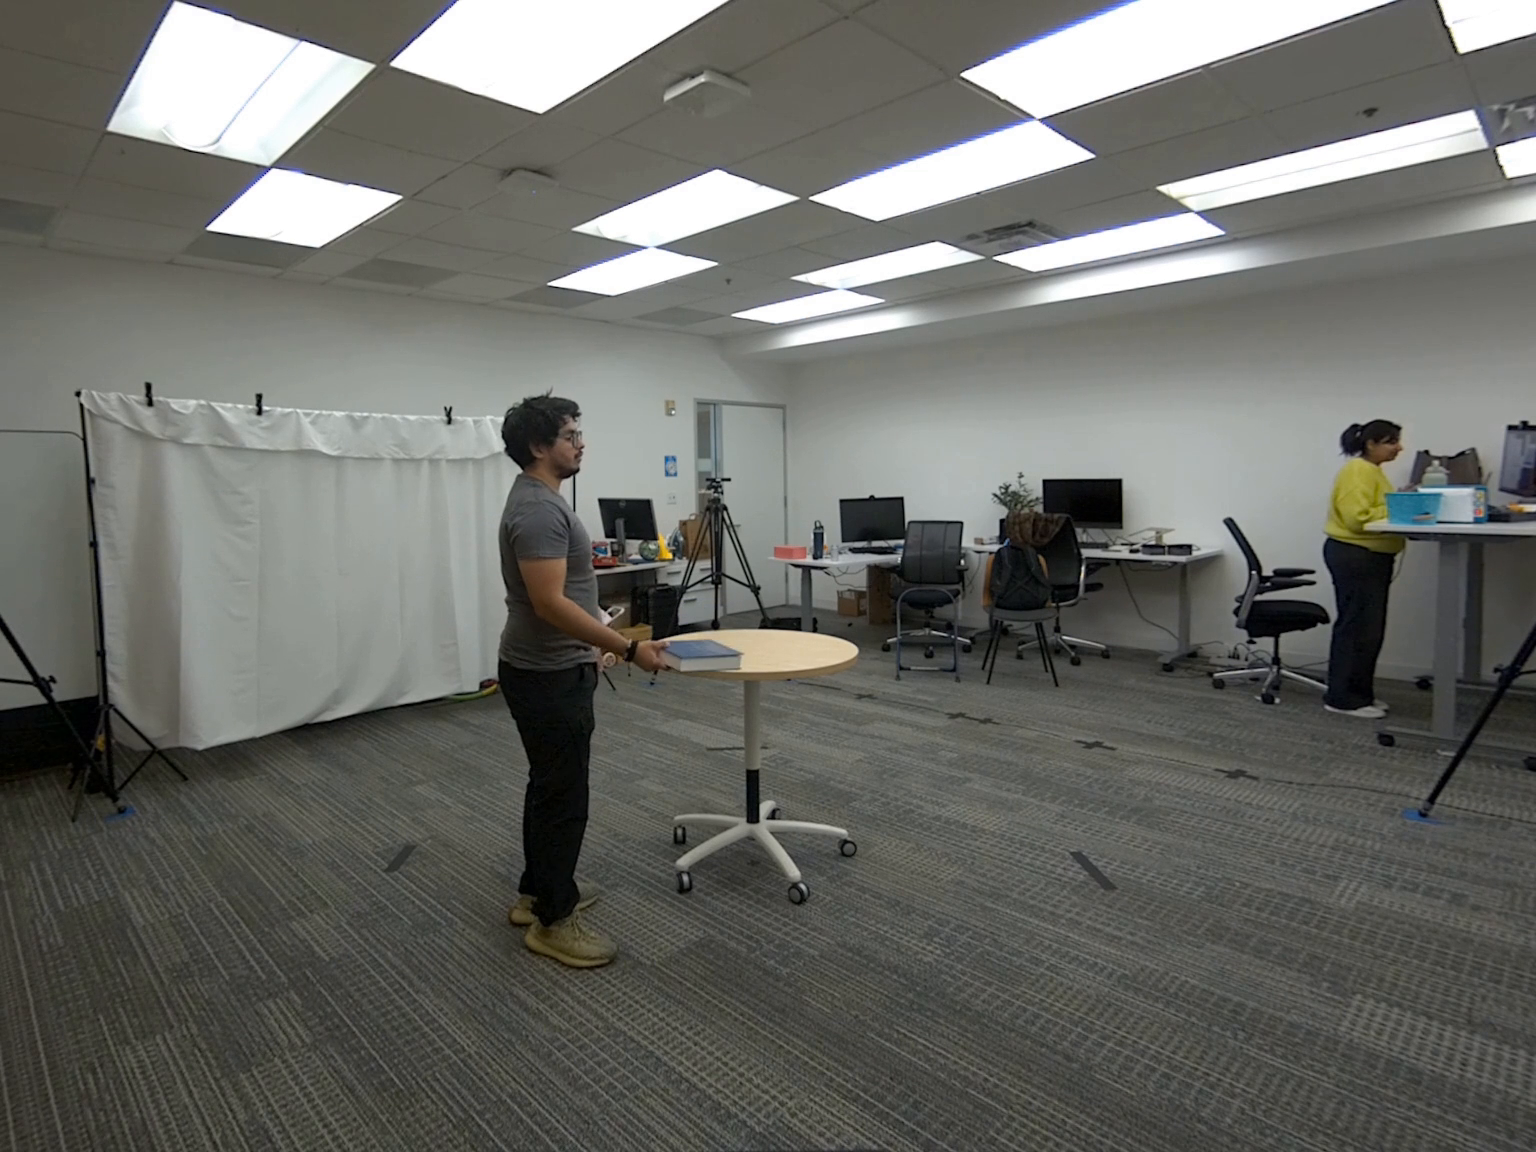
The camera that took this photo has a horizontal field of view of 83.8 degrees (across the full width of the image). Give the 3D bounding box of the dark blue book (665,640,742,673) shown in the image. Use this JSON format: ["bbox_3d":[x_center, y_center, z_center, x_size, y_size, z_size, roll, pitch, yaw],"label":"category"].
[{"bbox_3d":[-0.206,0.233,2.500,0.238,0.045,0.169,2,11,-44],"label":"dark blue book"}]
